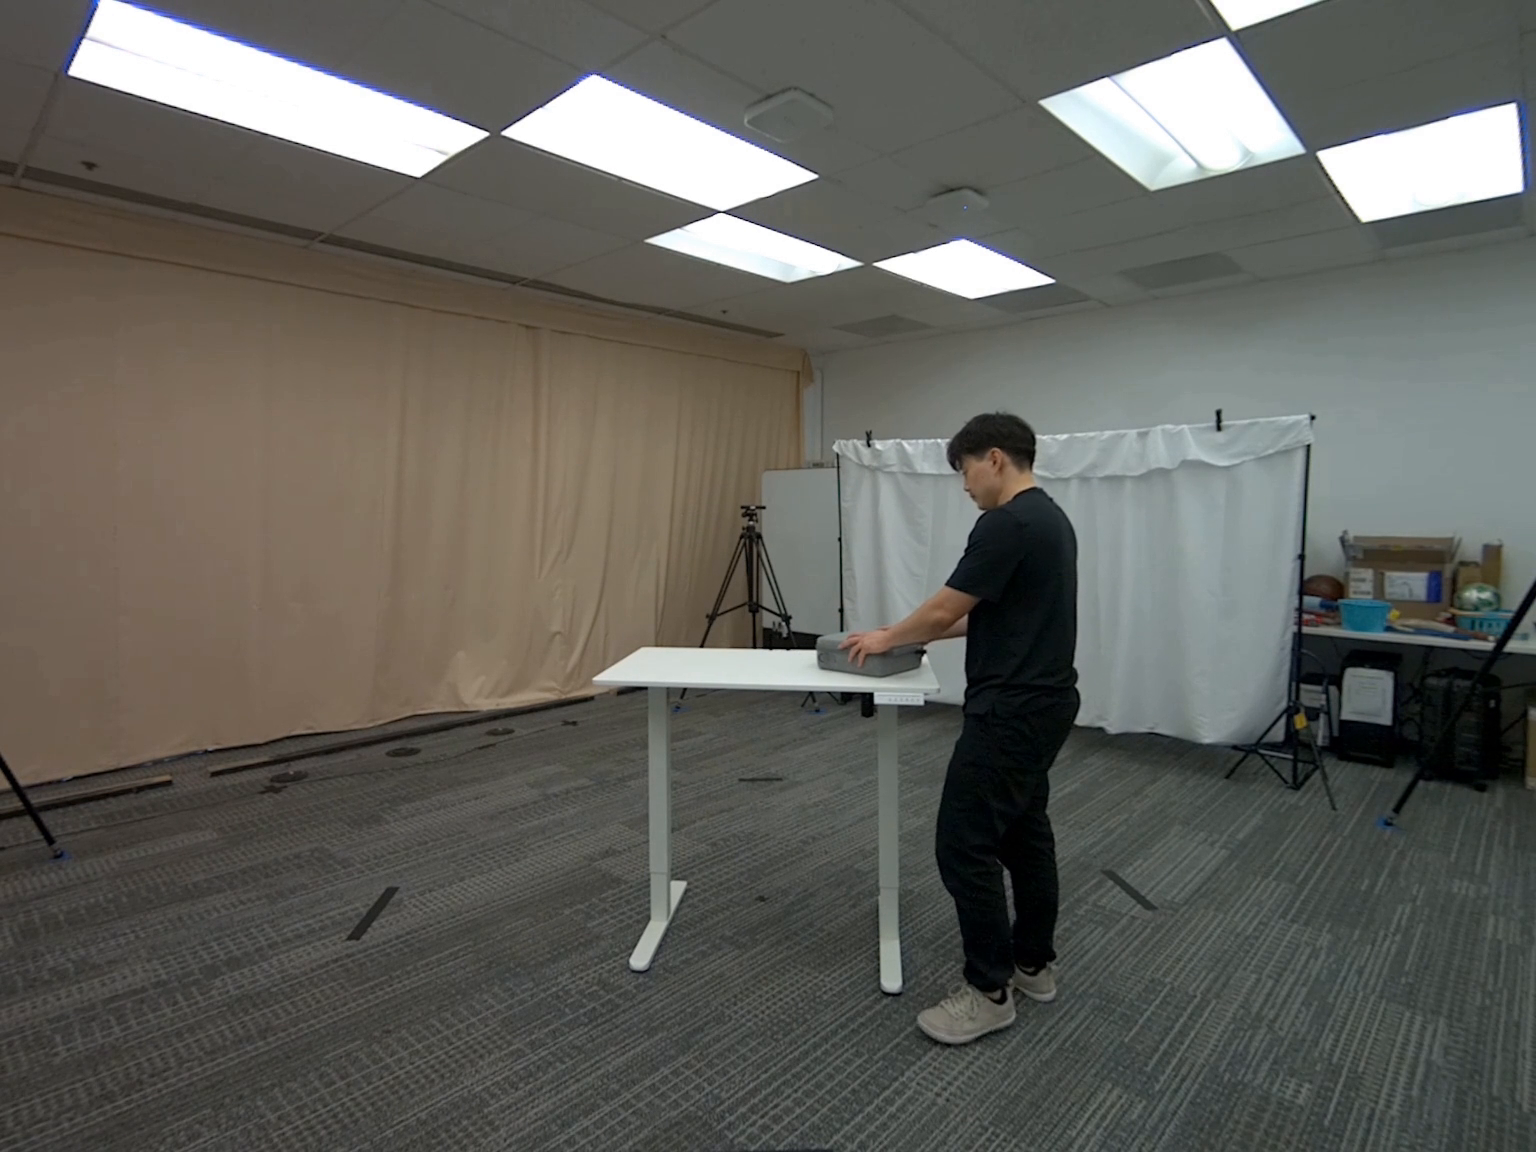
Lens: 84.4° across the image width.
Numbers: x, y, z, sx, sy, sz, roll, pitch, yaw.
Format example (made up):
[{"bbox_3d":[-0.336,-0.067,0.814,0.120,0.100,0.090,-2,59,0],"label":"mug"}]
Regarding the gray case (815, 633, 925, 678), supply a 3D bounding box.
[{"bbox_3d":[0.312,0.238,2.622,0.269,0.104,0.249,2,7,41],"label":"gray case"}]
